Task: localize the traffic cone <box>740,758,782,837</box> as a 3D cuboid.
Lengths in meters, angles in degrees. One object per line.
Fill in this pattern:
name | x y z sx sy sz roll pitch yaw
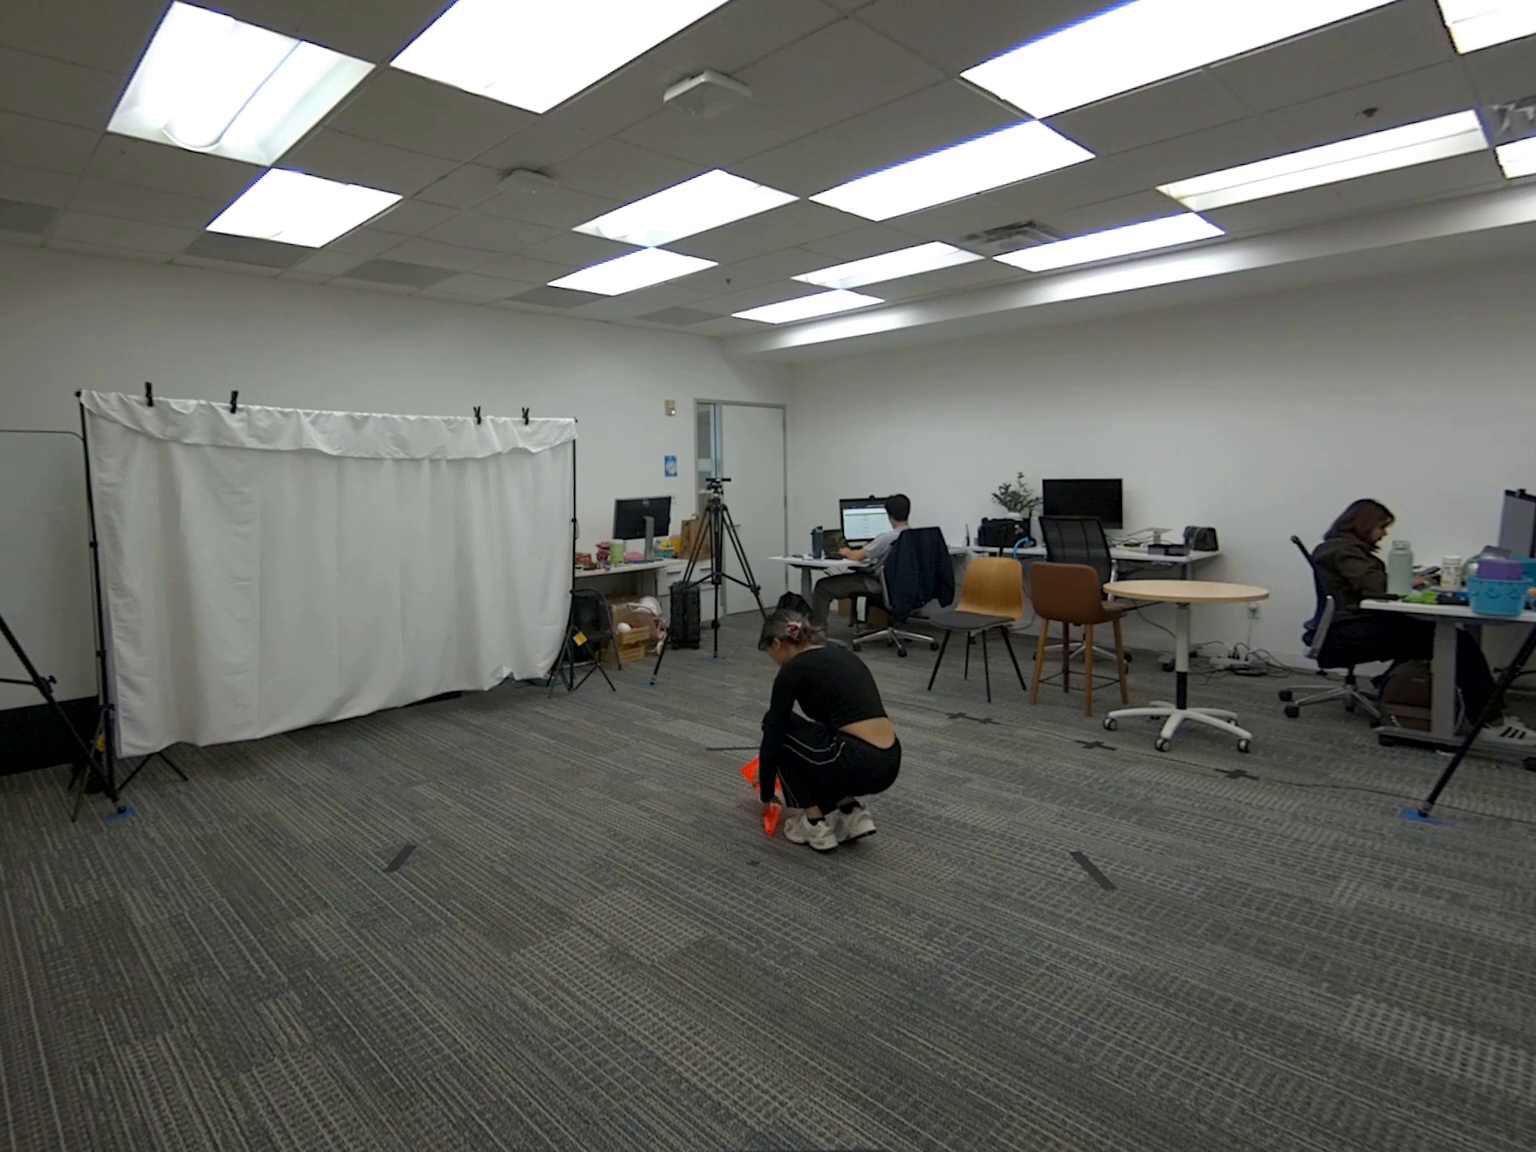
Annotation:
traffic cone | 0.018 0.938 3.519 0.202 0.203 0.390 36 19 -13
